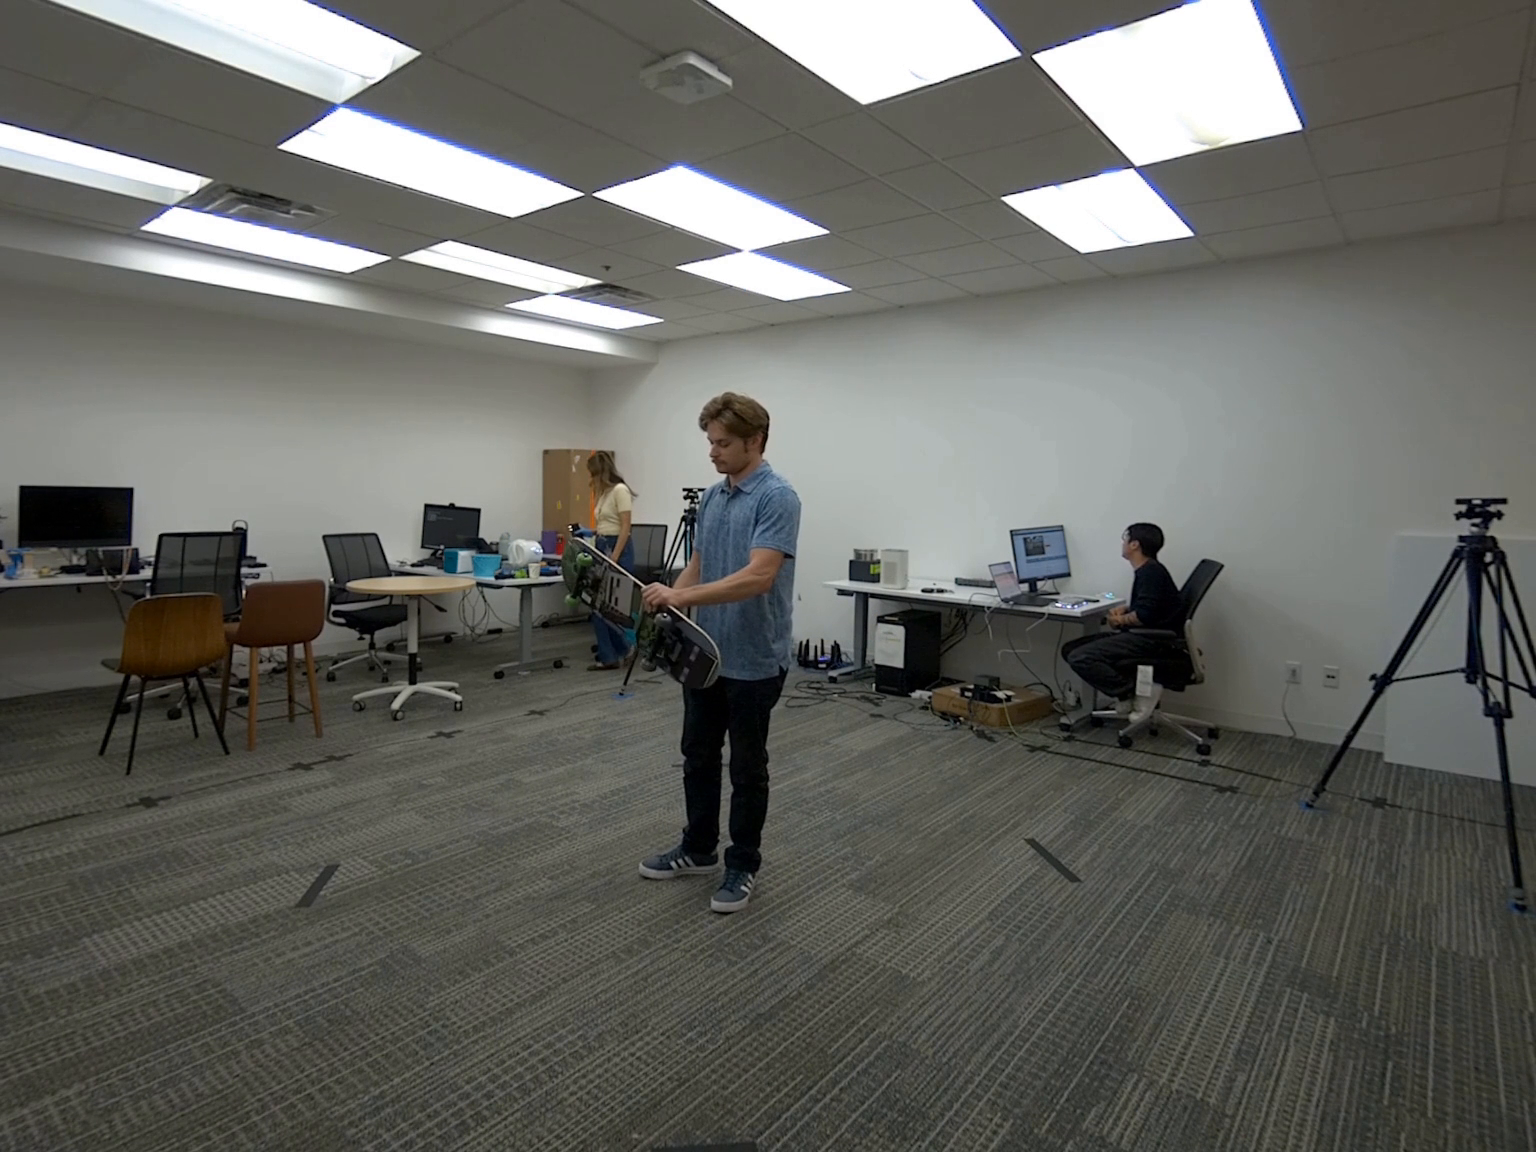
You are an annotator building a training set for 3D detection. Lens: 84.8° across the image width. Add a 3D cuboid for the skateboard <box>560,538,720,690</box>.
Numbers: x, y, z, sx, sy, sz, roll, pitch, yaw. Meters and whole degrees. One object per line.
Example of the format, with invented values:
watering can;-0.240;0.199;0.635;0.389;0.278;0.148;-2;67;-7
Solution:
skateboard;-0.459;0.100;2.694;0.107;0.191;0.818;-5;30;-47
